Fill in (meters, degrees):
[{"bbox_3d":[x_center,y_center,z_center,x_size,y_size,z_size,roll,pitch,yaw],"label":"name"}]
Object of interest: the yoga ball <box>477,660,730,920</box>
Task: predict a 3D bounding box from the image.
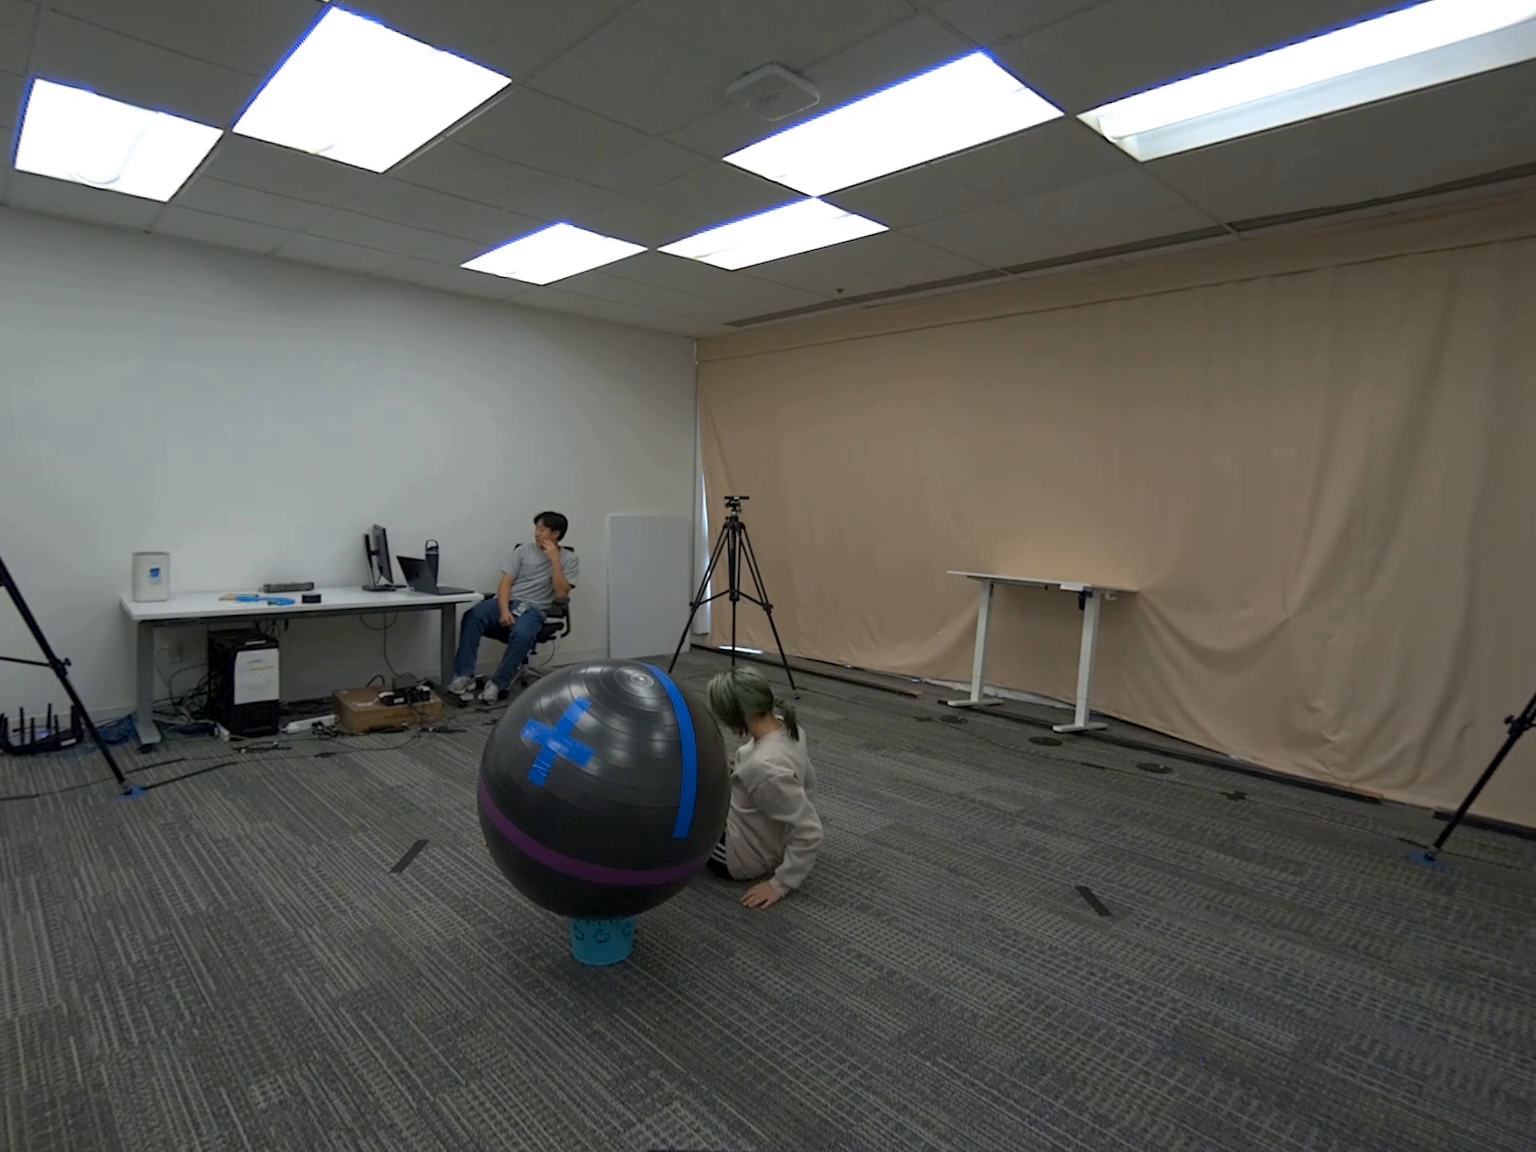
[{"bbox_3d":[-0.497,0.638,2.542,0.757,0.756,0.761,1,4,-1],"label":"yoga ball"}]
